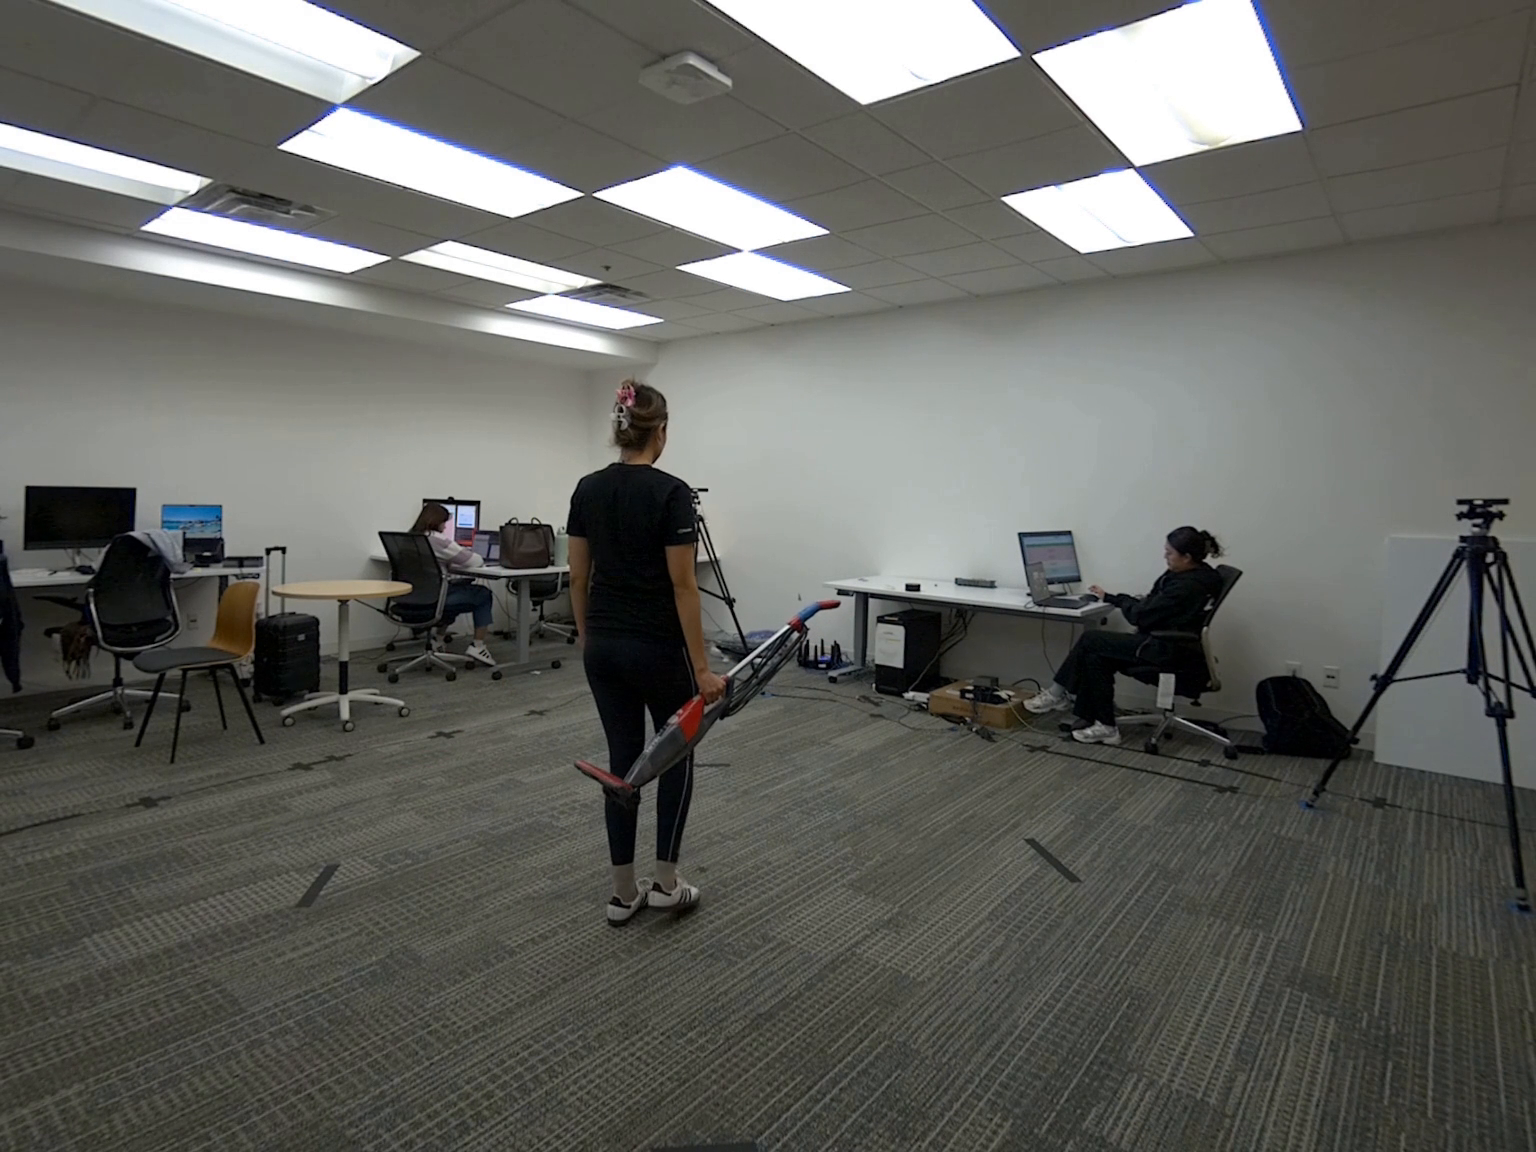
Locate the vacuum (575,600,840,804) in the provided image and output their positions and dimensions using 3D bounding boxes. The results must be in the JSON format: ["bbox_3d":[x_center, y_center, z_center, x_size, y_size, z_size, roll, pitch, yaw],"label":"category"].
[{"bbox_3d":[-0.108,0.360,2.720,1.041,0.141,0.260,-37,22,-32],"label":"vacuum"}]
